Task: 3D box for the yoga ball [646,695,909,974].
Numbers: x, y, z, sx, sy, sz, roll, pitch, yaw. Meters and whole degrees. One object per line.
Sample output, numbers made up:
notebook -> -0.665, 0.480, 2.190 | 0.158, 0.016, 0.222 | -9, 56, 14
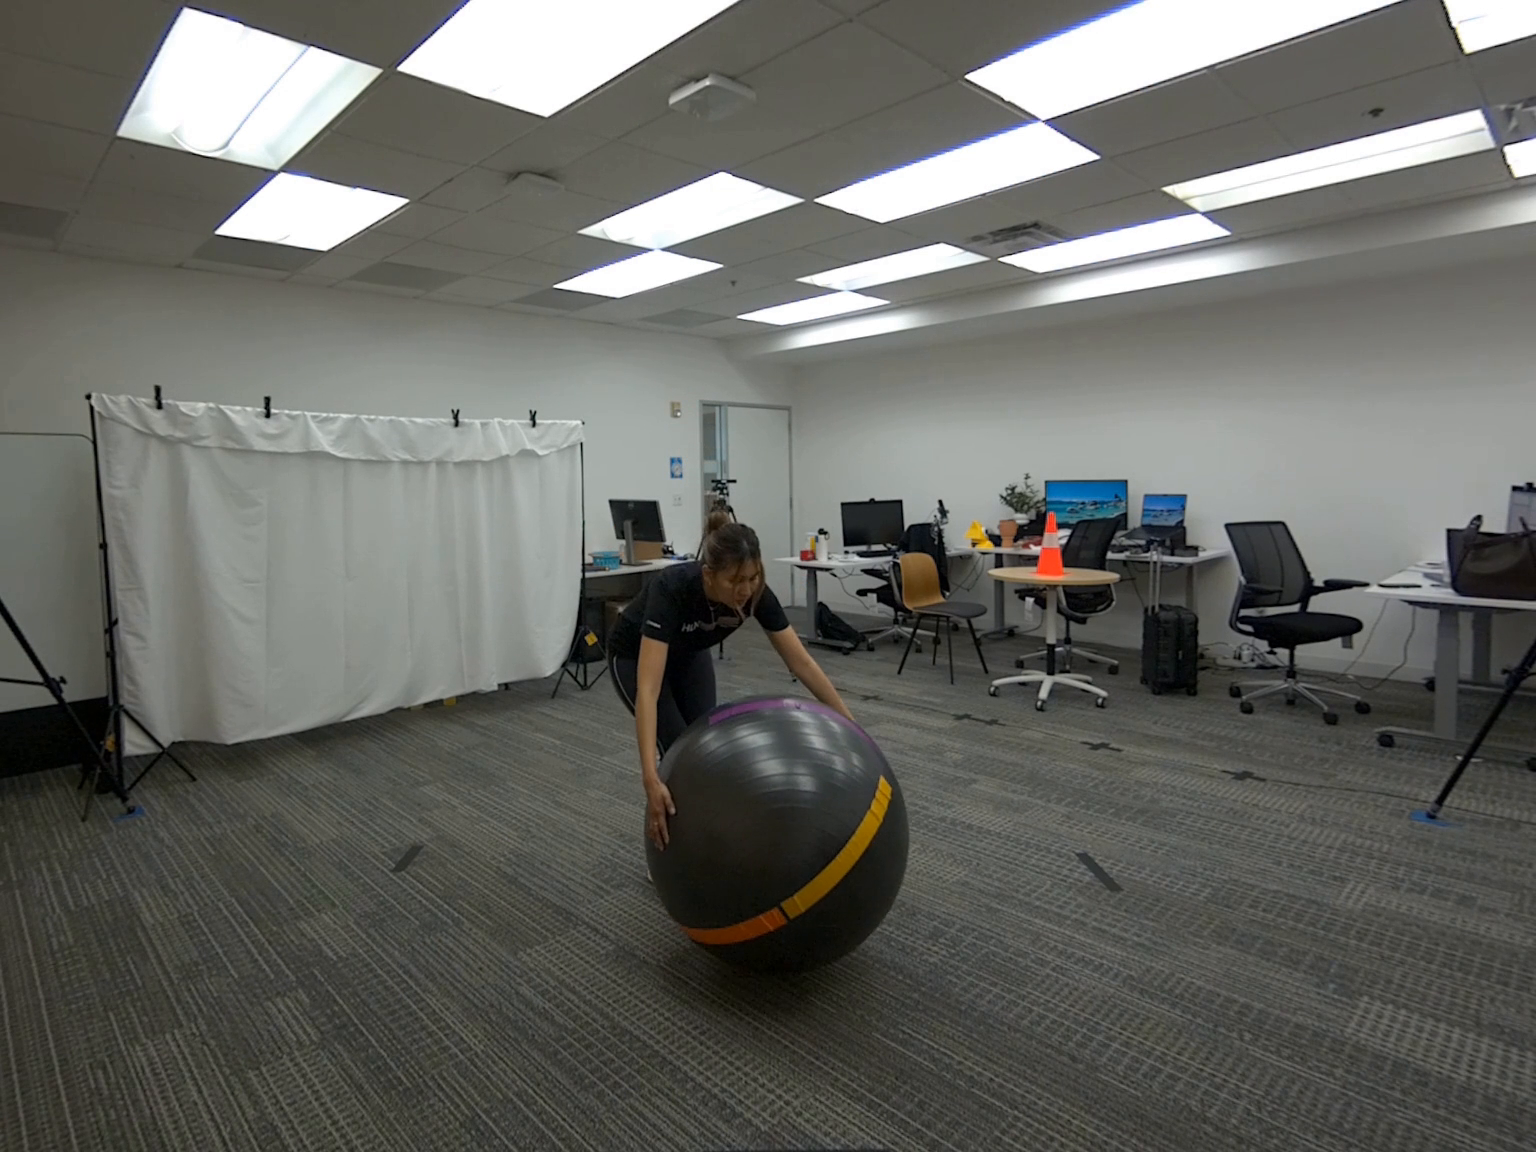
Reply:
yoga ball -> 0.022, 0.720, 2.458 | 0.757, 0.755, 0.762 | -1, 5, -2
